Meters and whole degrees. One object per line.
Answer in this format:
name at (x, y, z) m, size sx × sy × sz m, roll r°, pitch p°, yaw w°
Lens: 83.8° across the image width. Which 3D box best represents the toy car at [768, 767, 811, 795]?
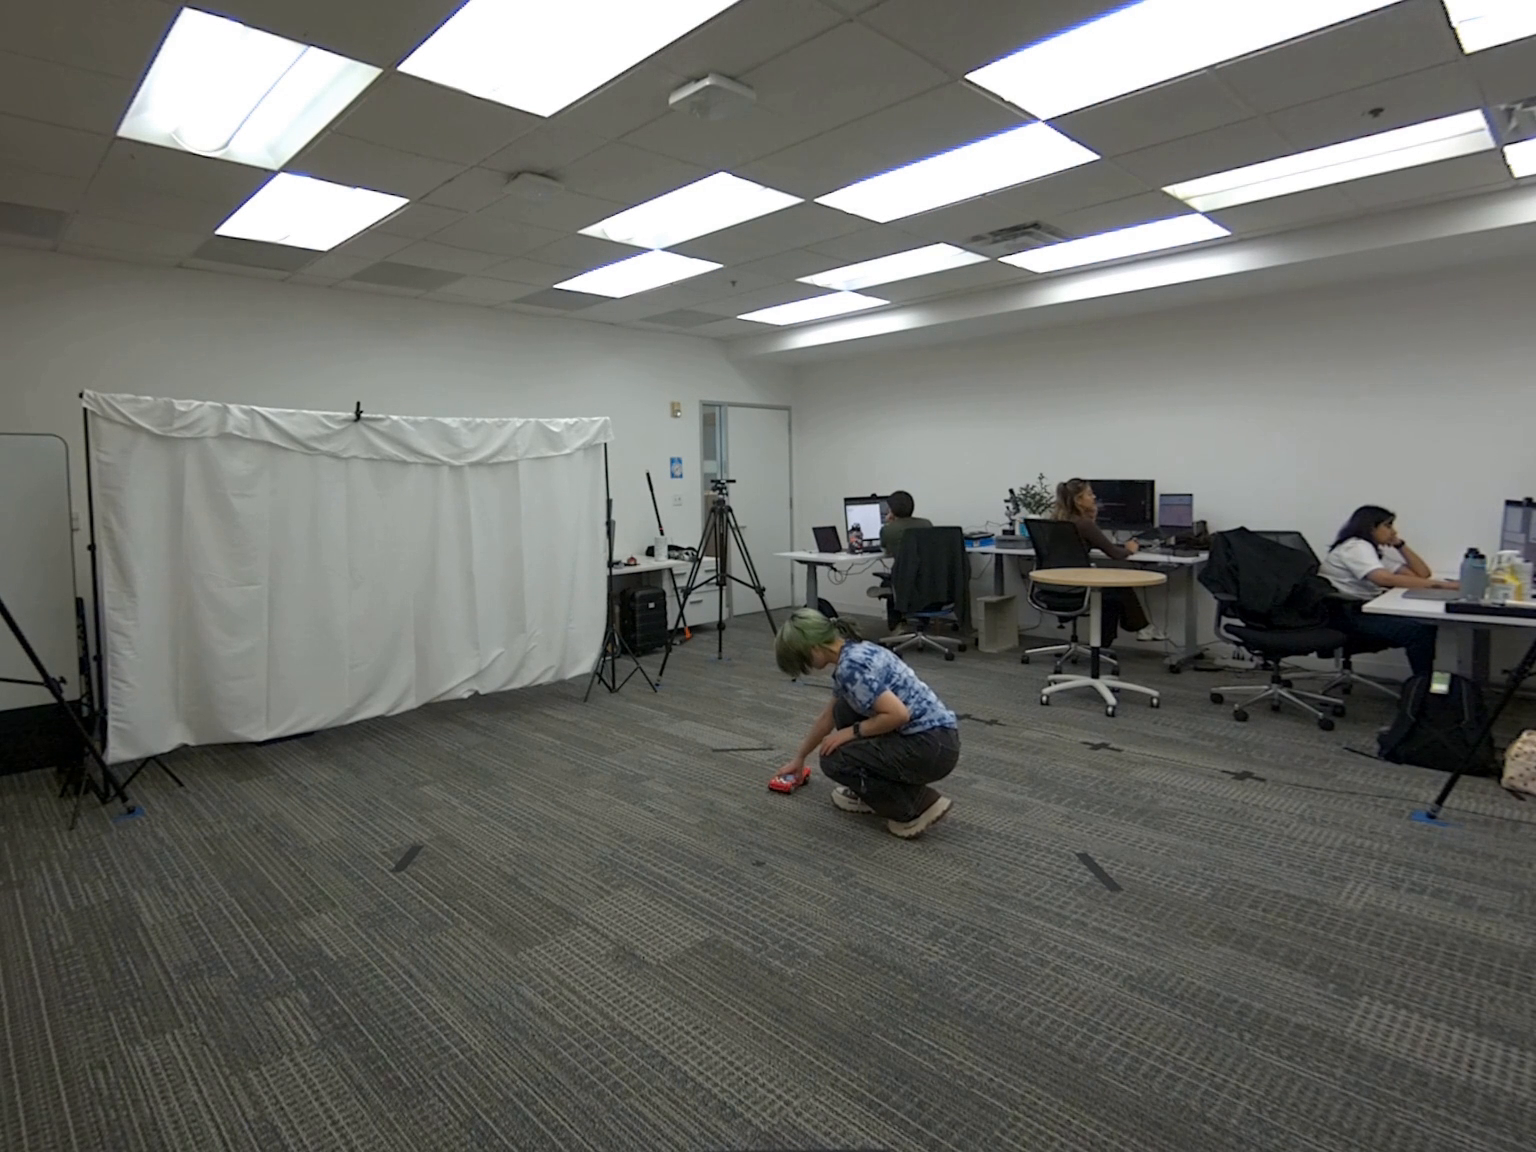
toy car at (0.103, 0.930, 3.897) m, size 0.134 × 0.082 × 0.251 m, roll 1°, pitch 17°, yaw 31°
